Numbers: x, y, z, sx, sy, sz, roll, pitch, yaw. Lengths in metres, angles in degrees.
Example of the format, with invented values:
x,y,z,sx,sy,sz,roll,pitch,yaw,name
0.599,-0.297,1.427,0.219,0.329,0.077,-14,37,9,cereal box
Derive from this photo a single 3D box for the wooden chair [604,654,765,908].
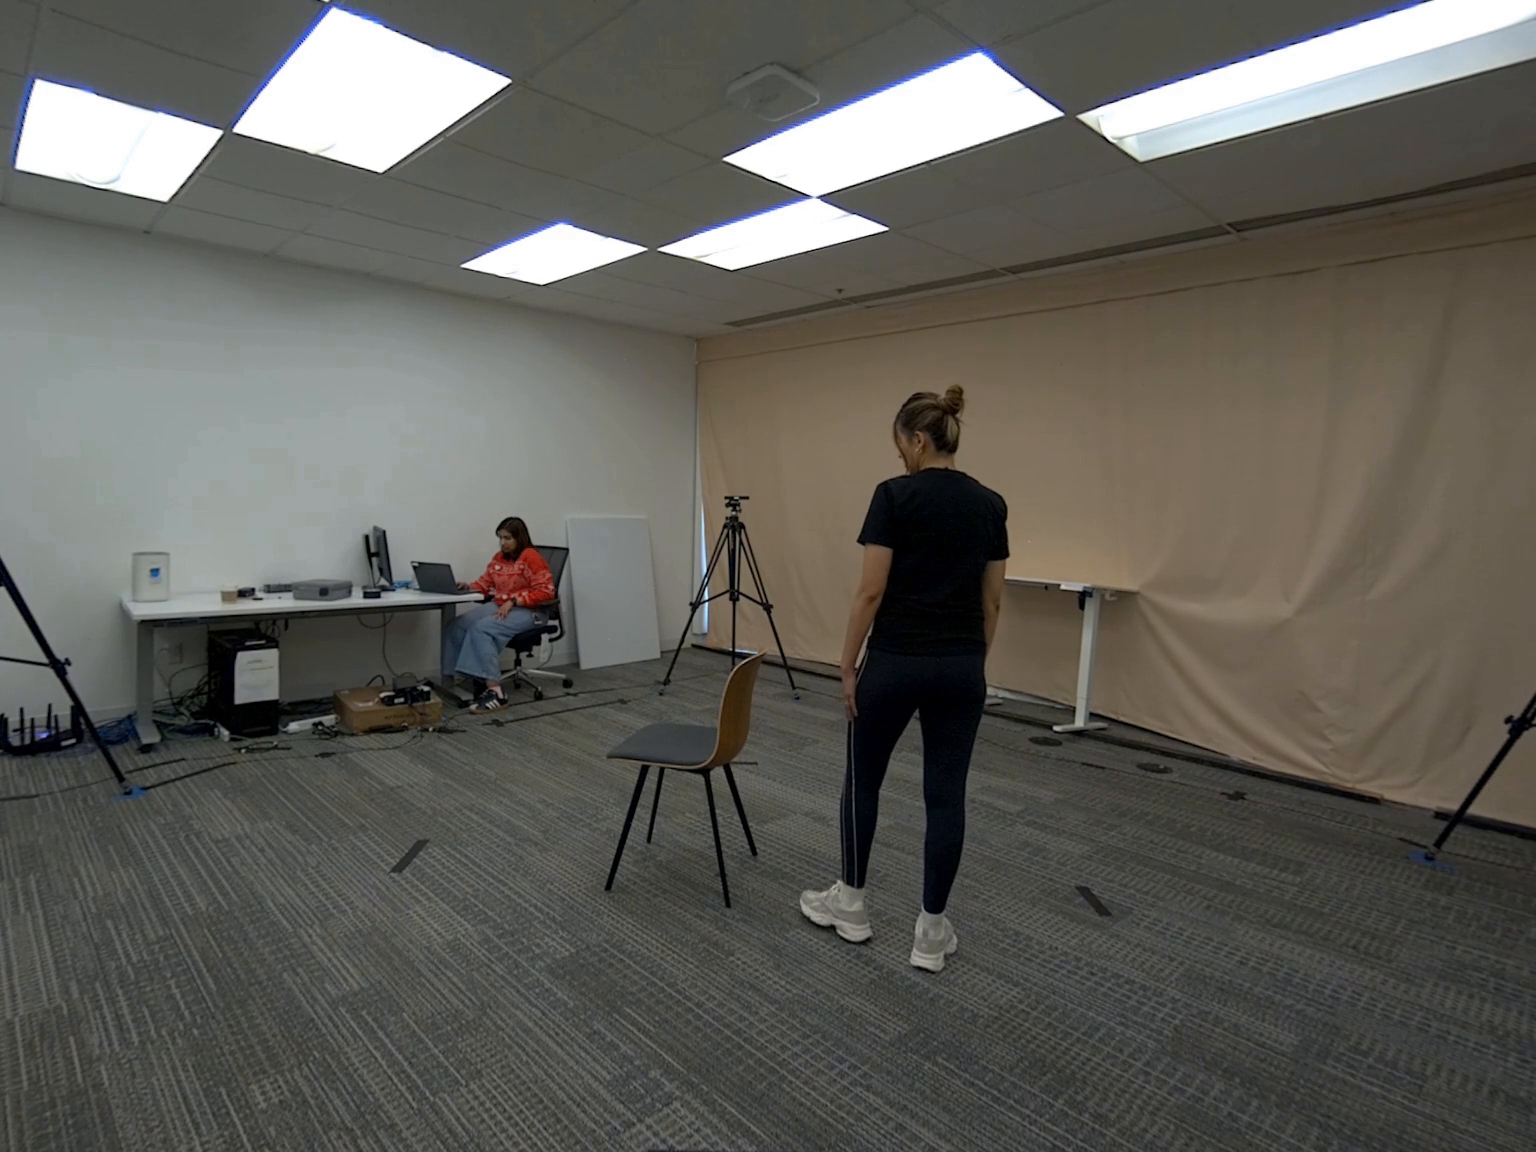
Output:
x,y,z,sx,sy,sz,roll,pitch,yaw,name
-0.311,0.675,3.088,0.529,0.874,0.474,6,5,13,wooden chair
